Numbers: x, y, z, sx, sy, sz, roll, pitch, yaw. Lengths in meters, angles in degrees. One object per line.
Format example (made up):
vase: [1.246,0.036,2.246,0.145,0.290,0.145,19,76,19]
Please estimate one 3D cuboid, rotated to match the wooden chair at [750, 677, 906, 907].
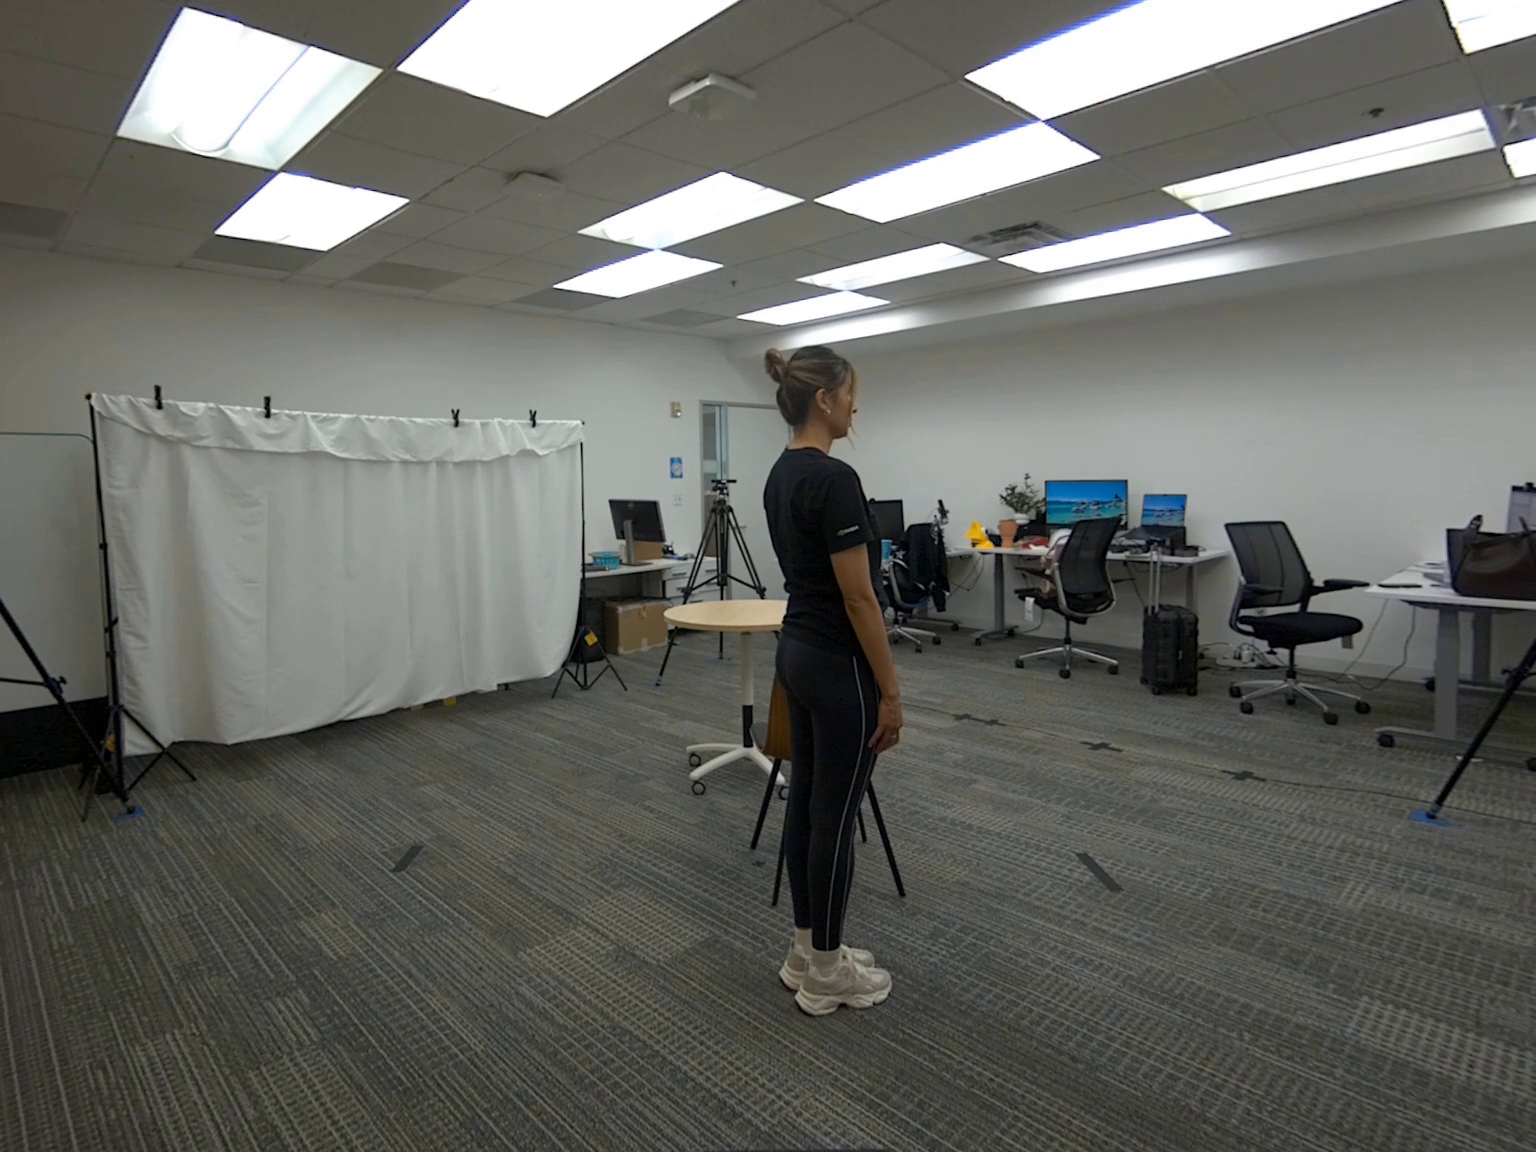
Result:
wooden chair: [0.187,0.629,3.018,0.474,0.871,0.531,-3,8,-9]
